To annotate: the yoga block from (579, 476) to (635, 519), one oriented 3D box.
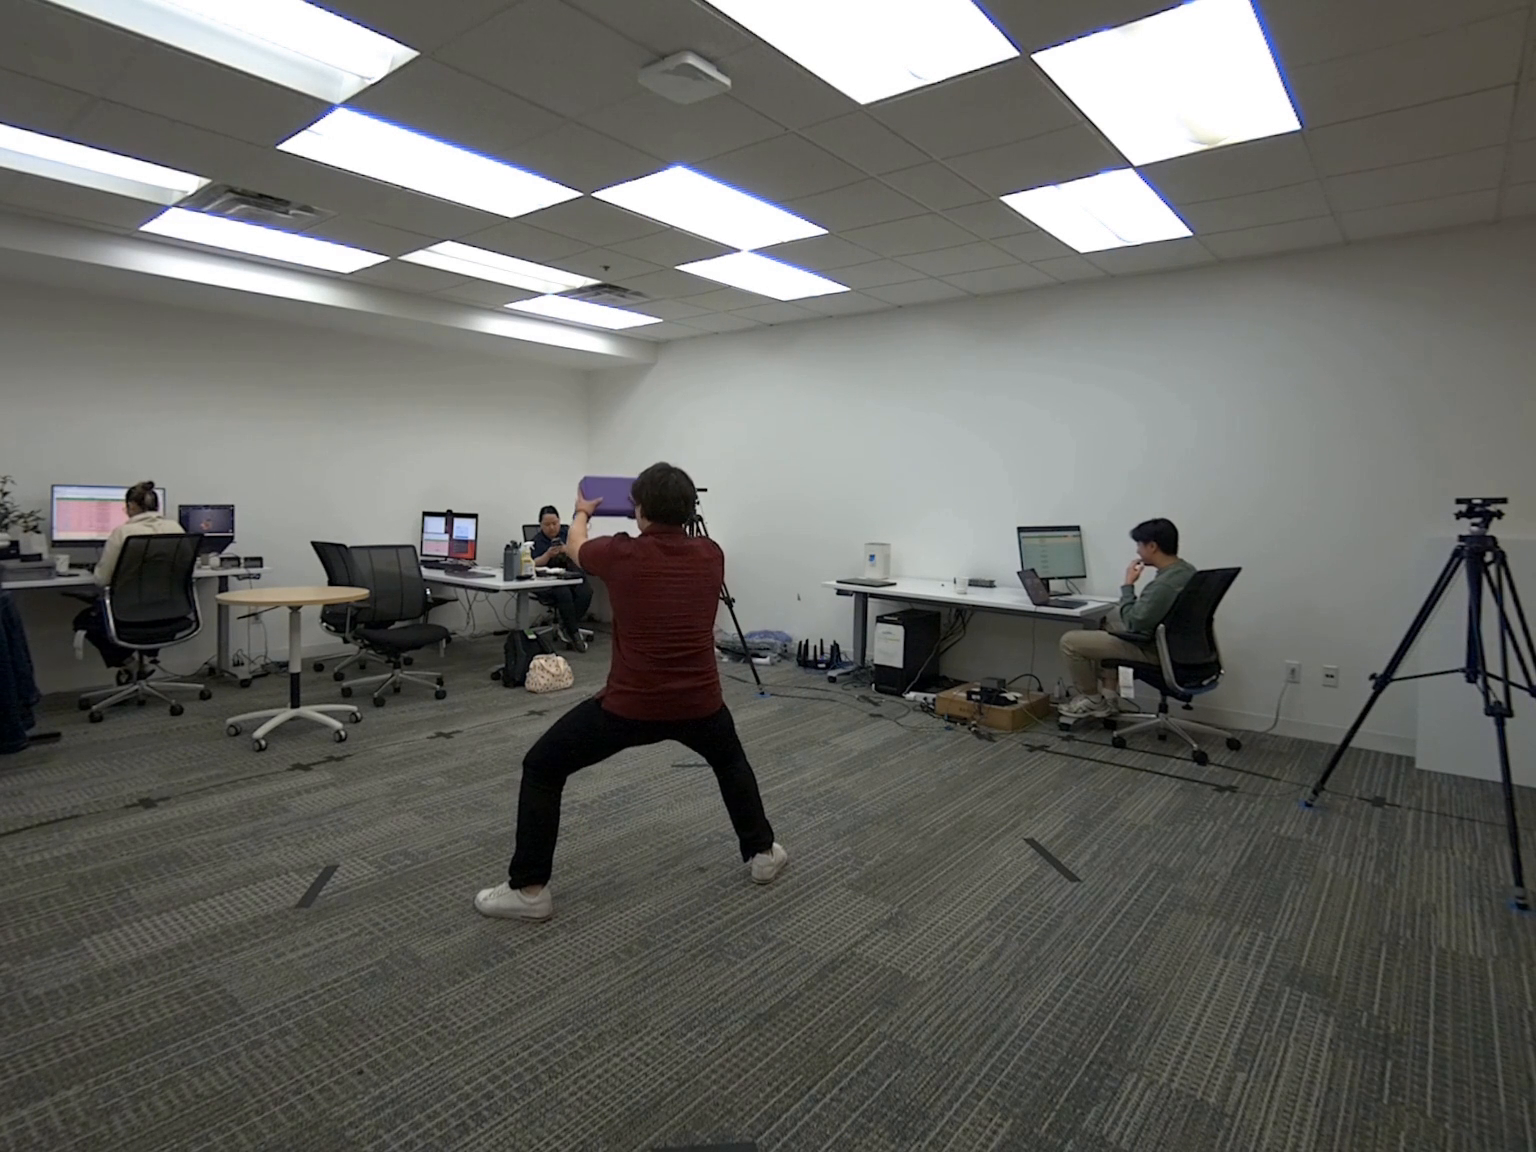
[{"bbox_3d":[-0.629,-0.314,3.347,0.224,0.151,0.077,-2,-14,-24],"label":"yoga block"}]
